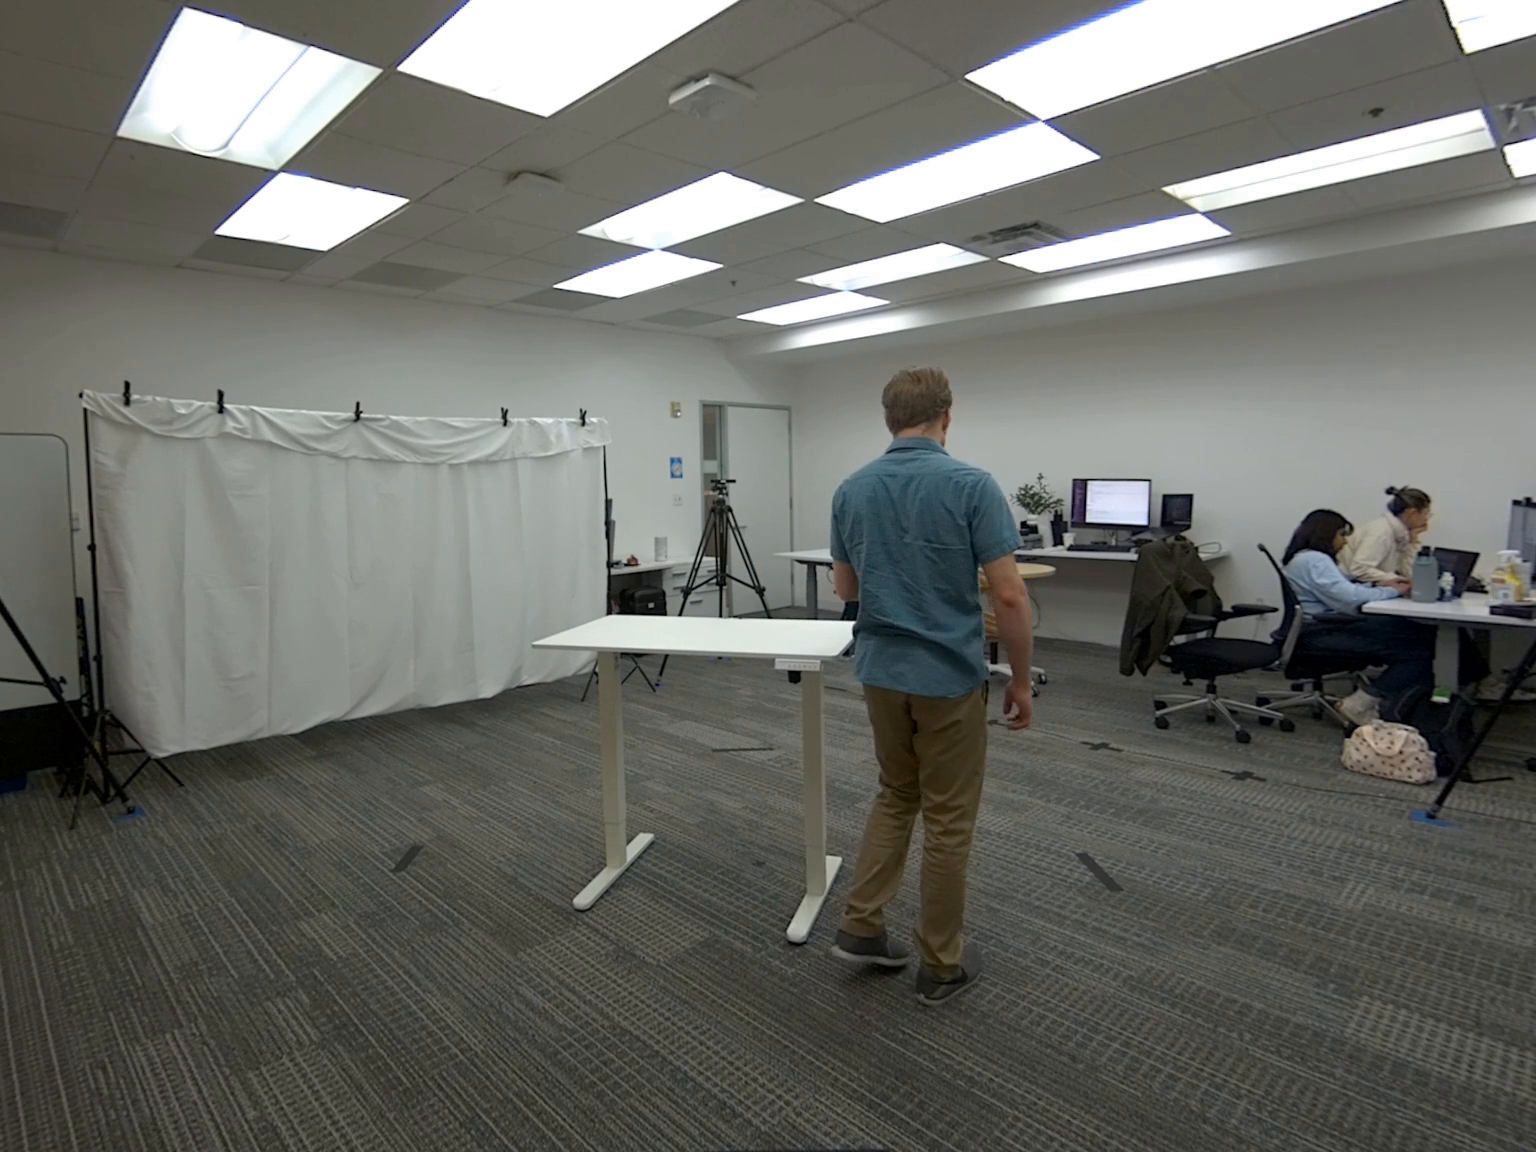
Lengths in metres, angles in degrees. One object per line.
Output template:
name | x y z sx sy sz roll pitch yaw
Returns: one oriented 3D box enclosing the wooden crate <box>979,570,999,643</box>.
wooden crate | 0.619 0.039 2.716 0.318 0.276 0.305 19 -15 -17
